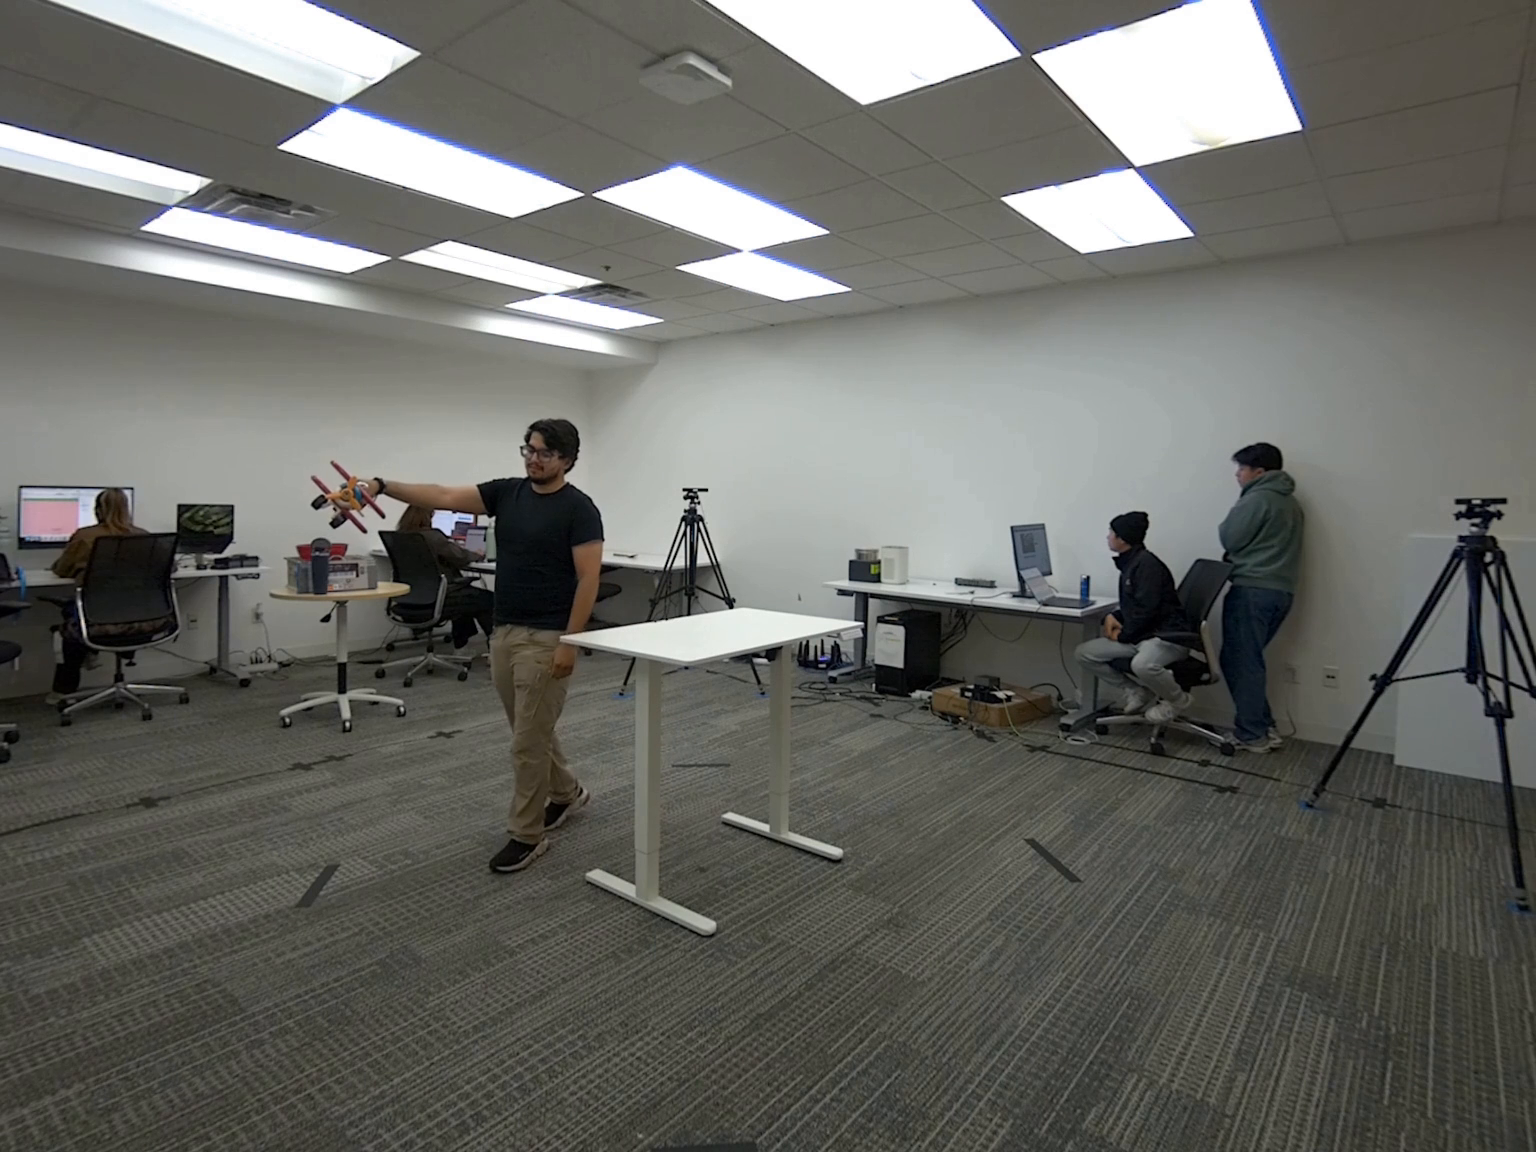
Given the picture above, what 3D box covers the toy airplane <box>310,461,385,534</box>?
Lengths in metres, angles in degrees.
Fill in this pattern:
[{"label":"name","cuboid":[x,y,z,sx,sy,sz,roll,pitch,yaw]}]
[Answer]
[{"label":"toy airplane","cuboid":[-1.472,-0.272,2.921,0.241,0.156,0.270,52,-5,-40]}]
